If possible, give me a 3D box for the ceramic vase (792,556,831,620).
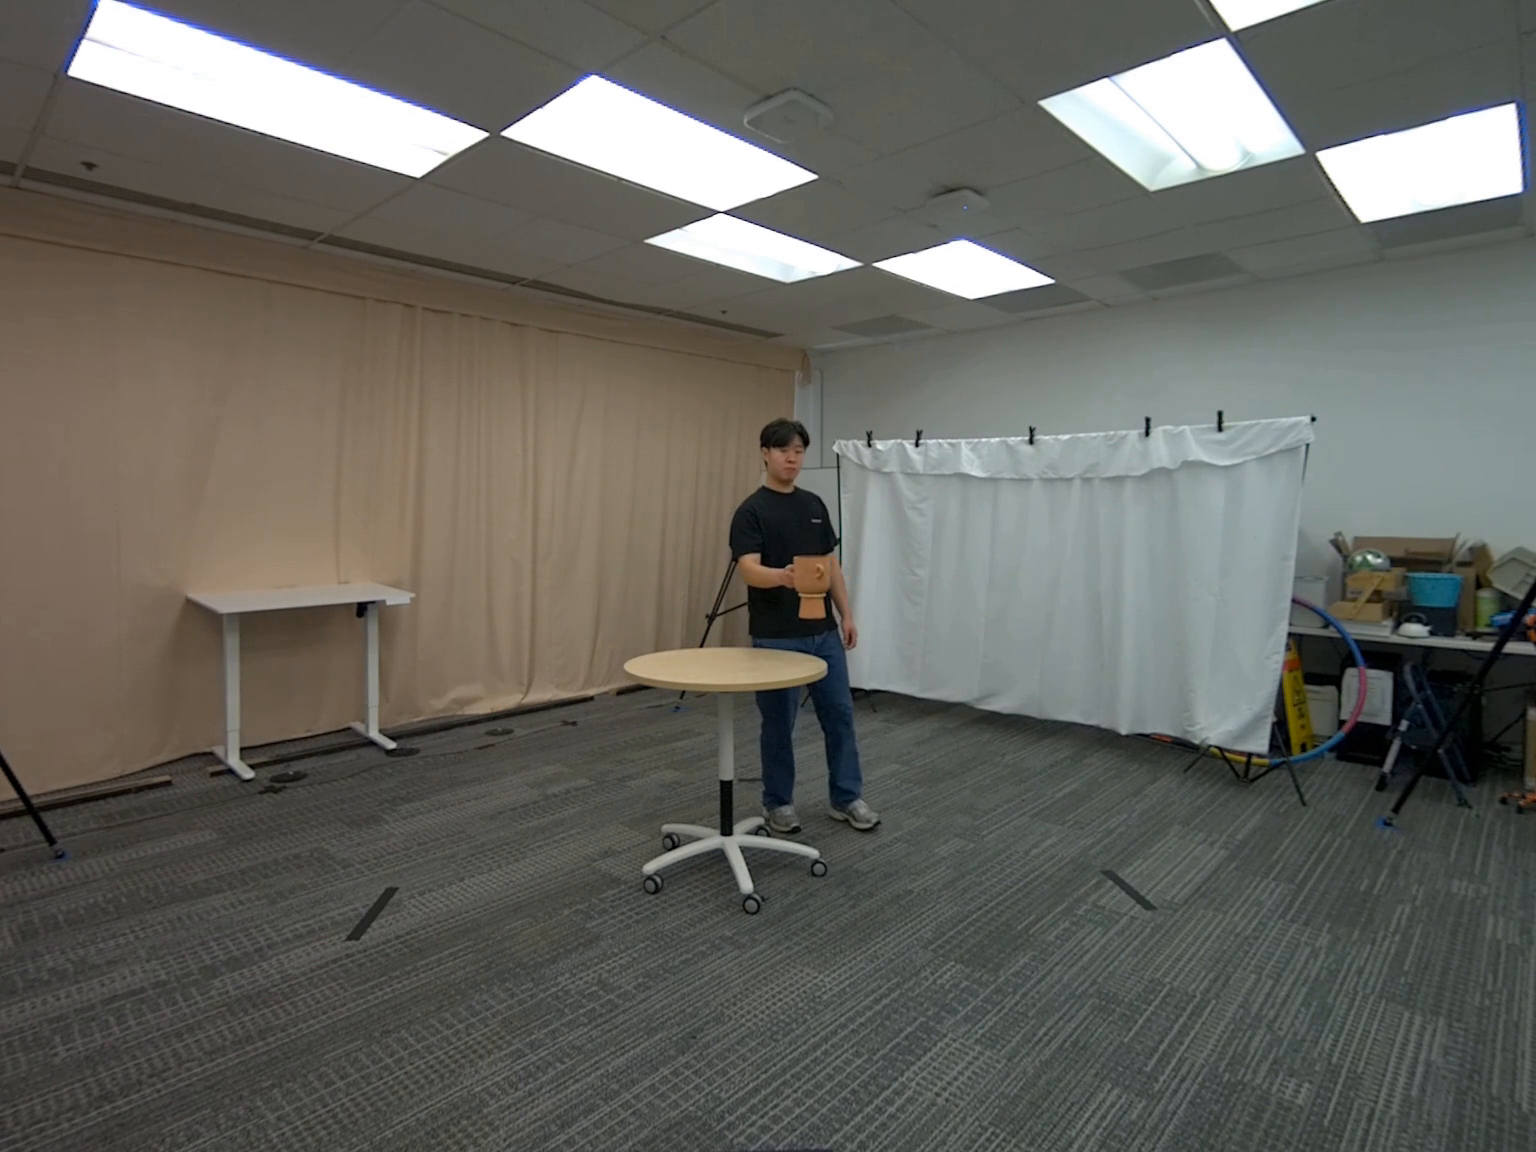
[{"bbox_3d":[0.152,0.040,3.085,0.137,0.219,0.156,0,4,18],"label":"ceramic vase"}]
